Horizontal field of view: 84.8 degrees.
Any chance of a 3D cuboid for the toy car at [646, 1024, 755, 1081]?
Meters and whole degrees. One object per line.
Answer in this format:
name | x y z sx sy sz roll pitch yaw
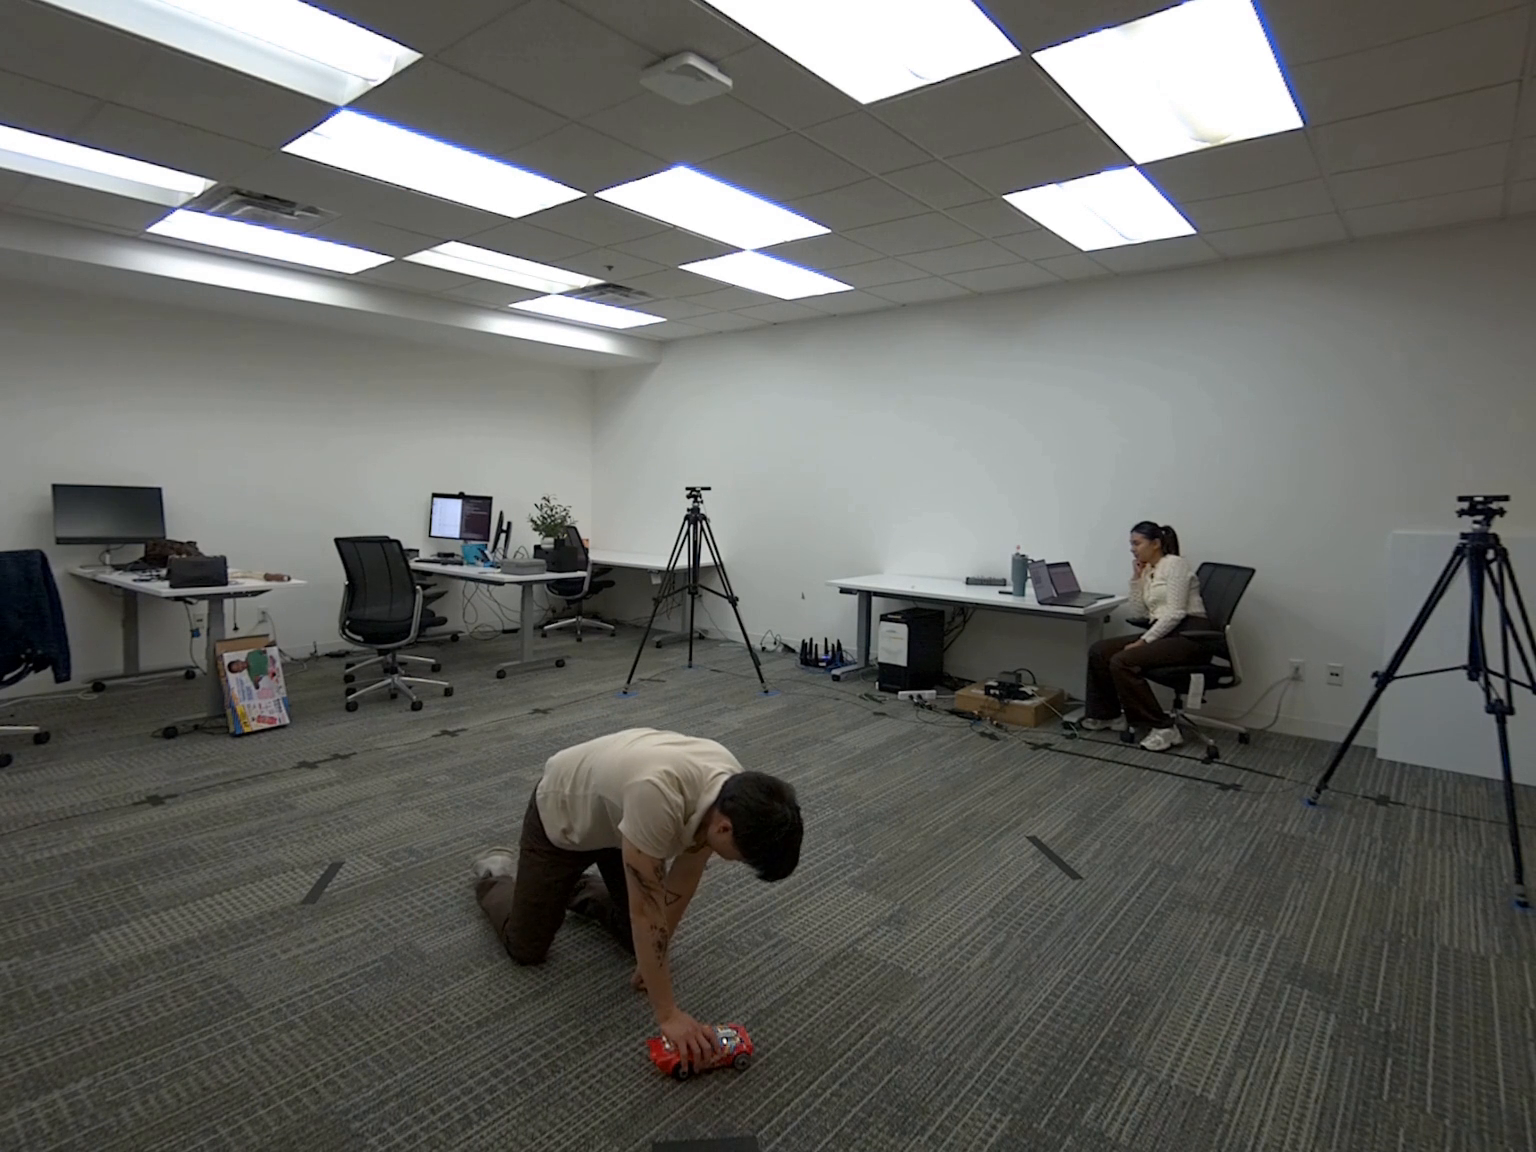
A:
toy car | -0.171 1.146 2.058 0.249 0.083 0.133 9 1 -17
